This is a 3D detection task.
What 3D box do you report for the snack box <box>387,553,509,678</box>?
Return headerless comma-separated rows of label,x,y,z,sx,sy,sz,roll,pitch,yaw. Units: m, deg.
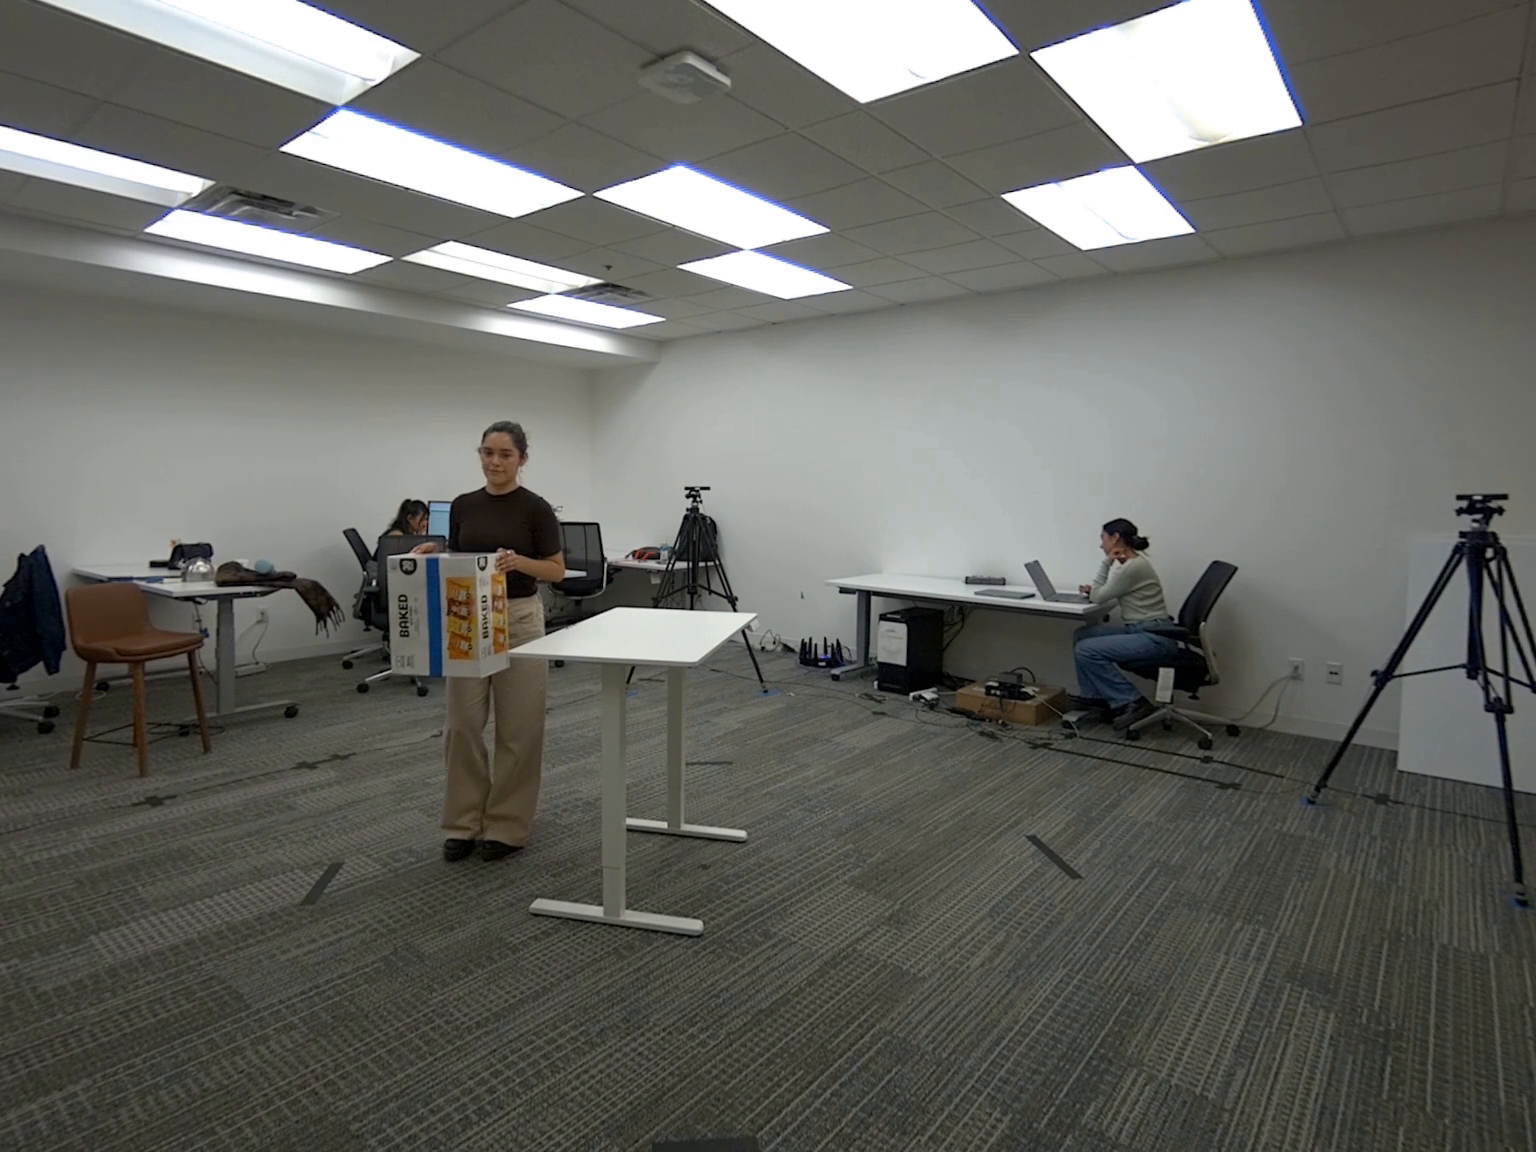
snack box,-1.124,0.127,2.946,0.345,0.404,0.203,-1,4,14
